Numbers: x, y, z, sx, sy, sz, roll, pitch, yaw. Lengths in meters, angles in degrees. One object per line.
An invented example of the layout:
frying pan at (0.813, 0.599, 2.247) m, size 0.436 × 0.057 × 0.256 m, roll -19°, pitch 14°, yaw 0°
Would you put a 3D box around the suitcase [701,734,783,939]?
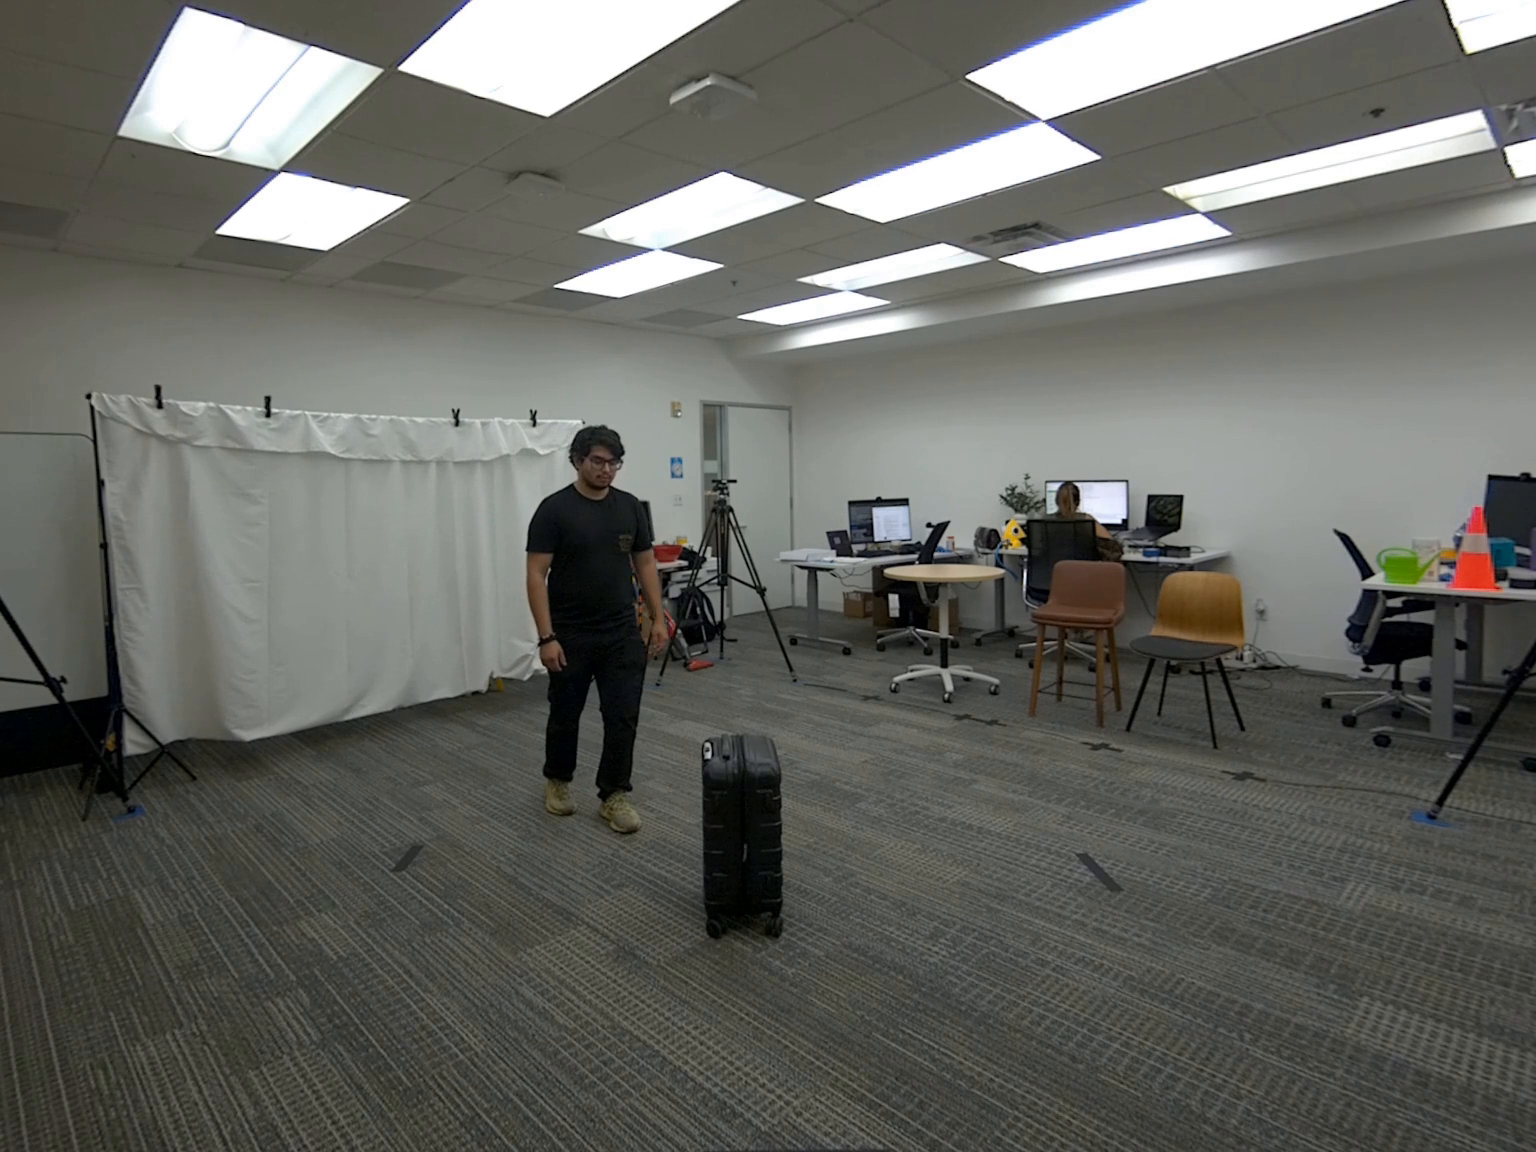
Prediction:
suitcase at (-0.088, 0.811, 2.768) m, size 0.248 × 0.548 × 0.378 m, roll -1°, pitch 4°, yaw -4°
